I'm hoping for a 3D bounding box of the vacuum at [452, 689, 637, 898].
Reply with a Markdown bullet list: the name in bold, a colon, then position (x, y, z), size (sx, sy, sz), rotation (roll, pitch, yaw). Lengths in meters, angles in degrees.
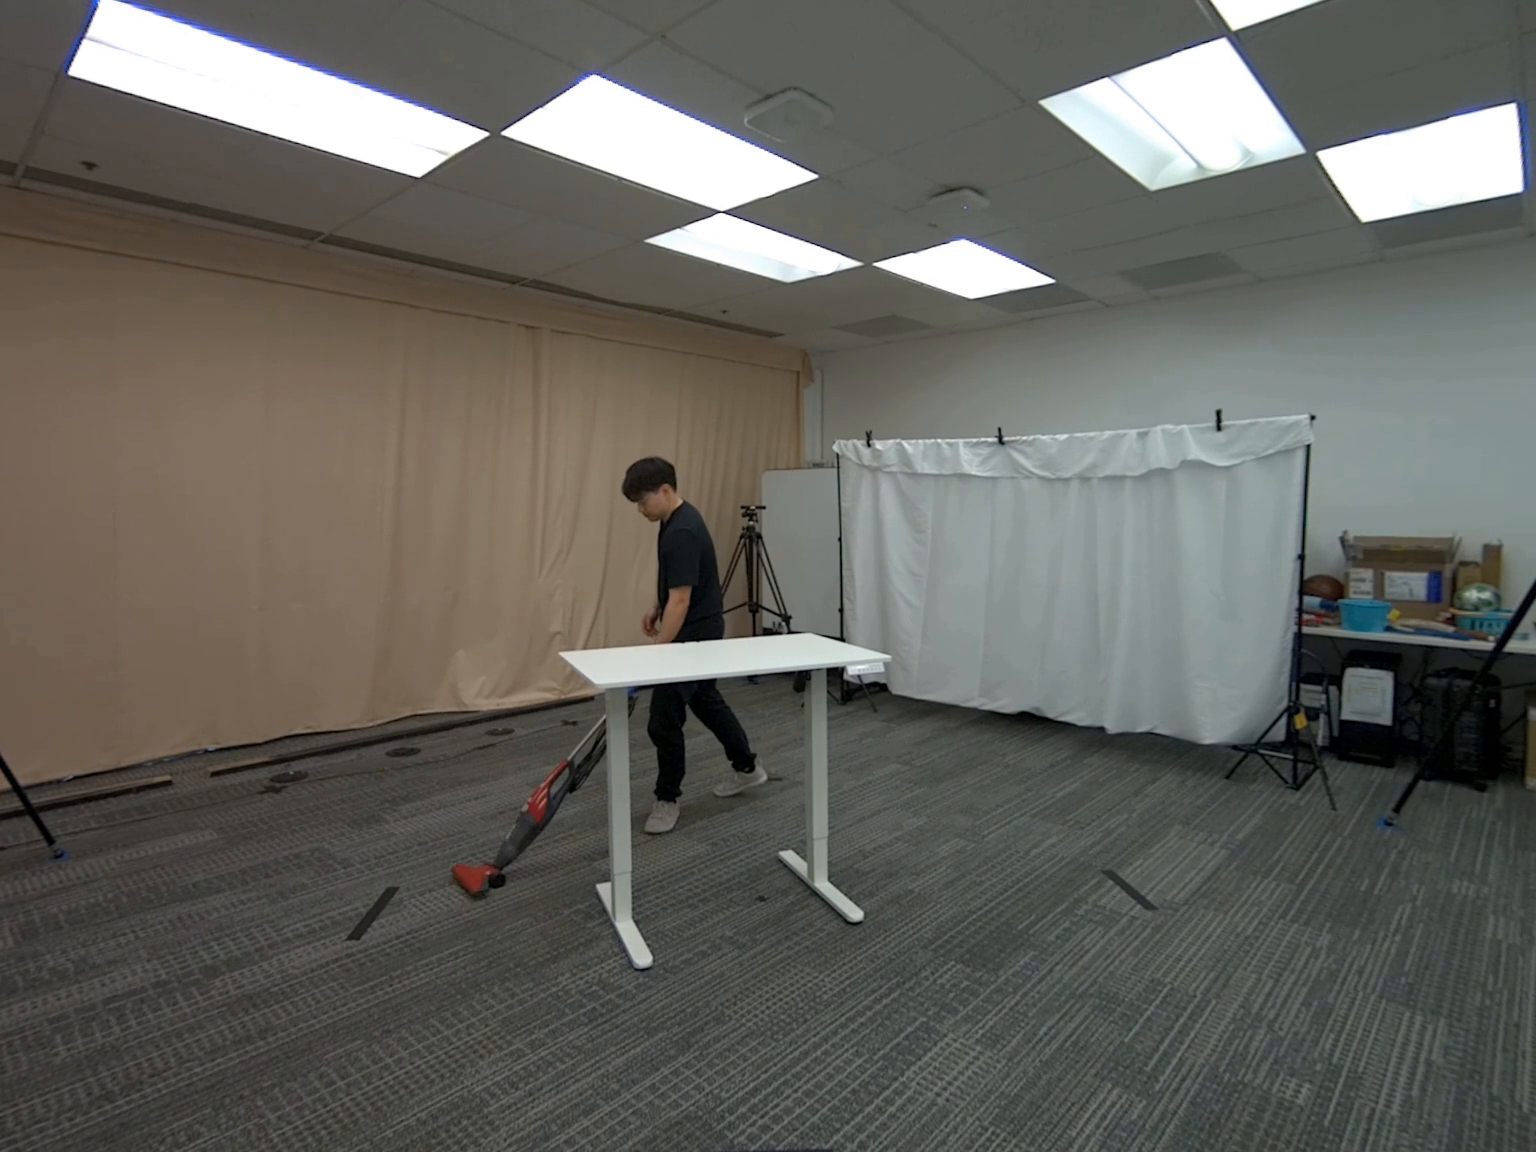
- **vacuum**: position (-0.766, 0.760, 3.322), size (1.043, 0.140, 0.260), rotation (-49, 27, -24)
